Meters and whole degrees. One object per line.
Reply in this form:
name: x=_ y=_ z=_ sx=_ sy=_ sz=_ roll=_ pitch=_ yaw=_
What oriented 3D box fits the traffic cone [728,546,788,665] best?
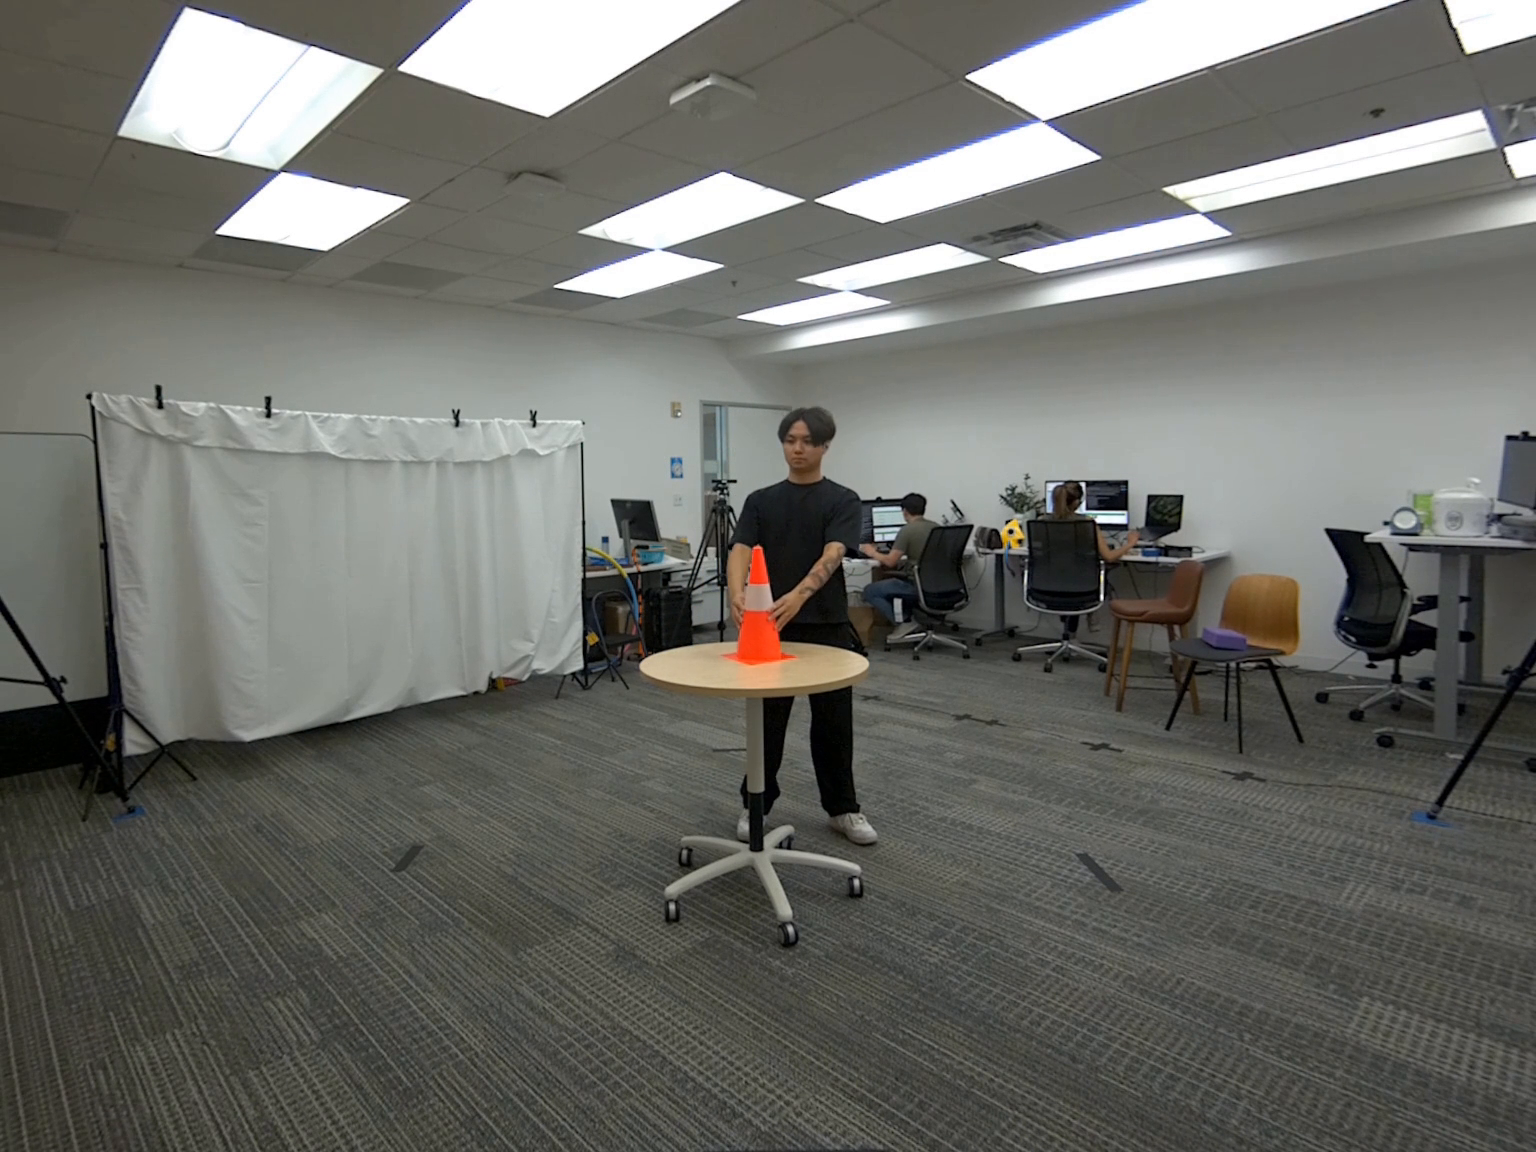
traffic cone: x=-0.033 y=0.085 z=2.940 sx=0.209 sy=0.383 sz=0.199 roll=2 pitch=4 yaw=43
